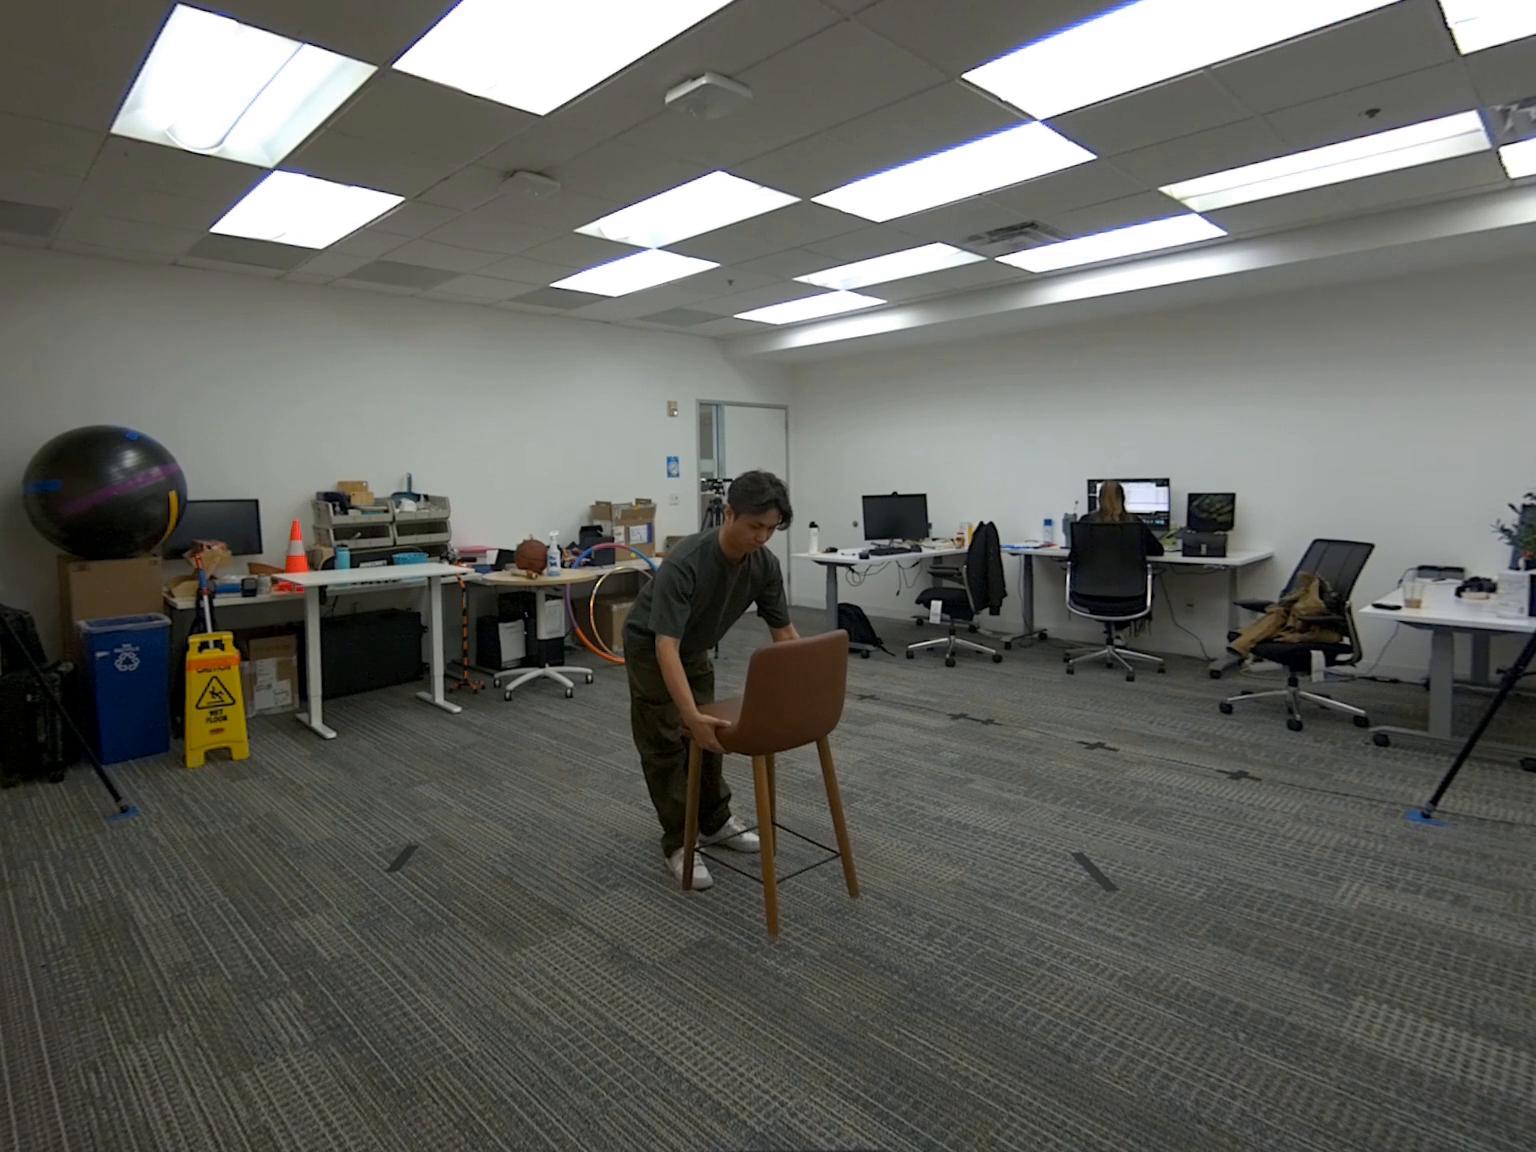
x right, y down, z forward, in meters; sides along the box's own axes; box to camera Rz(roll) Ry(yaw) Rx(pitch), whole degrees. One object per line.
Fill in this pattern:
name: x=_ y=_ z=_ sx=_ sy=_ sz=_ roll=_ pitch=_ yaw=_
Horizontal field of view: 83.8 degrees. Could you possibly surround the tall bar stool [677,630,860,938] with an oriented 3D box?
tall bar stool: x=-0.004 y=0.608 z=2.788 sx=0.445 sy=0.886 sz=0.482 roll=-5 pitch=6 yaw=-39
